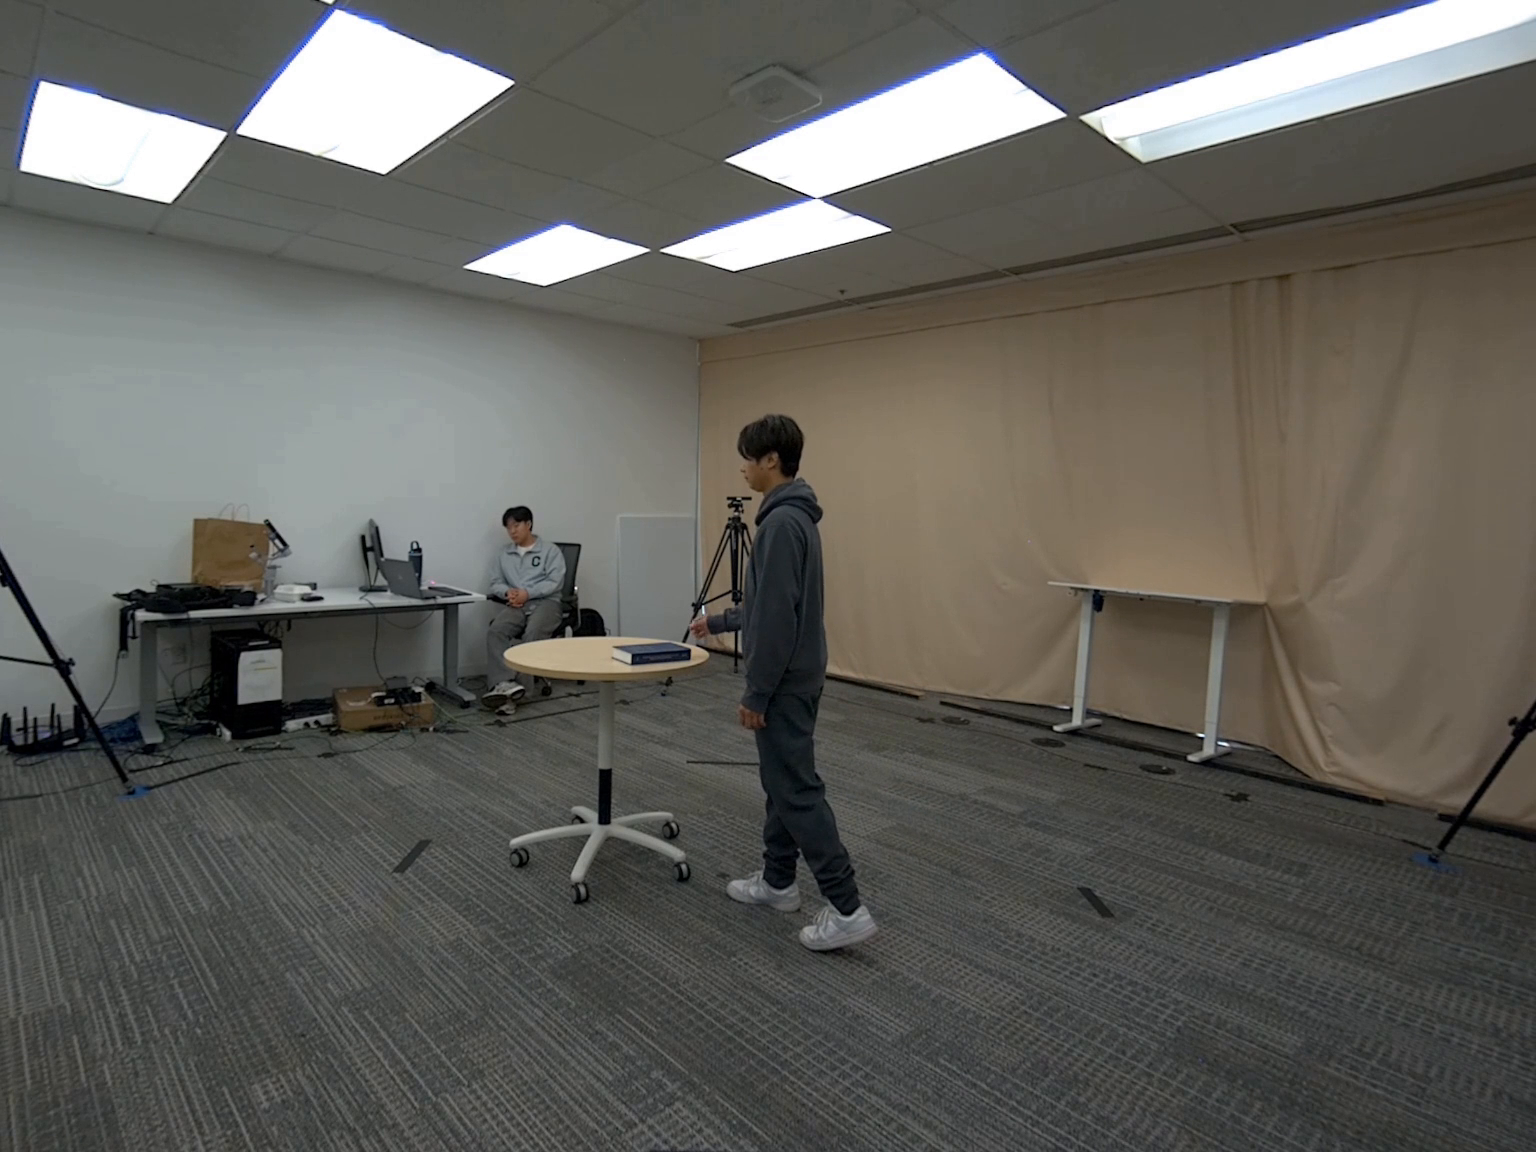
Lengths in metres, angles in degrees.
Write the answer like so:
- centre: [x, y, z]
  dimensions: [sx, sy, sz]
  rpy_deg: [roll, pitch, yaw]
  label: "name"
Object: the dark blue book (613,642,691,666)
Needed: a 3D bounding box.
- centre: [-0.440, 0.287, 3.083]
  dimensions: [0.240, 0.045, 0.167]
  rpy_deg: [-2, 5, -34]
  label: "dark blue book"
